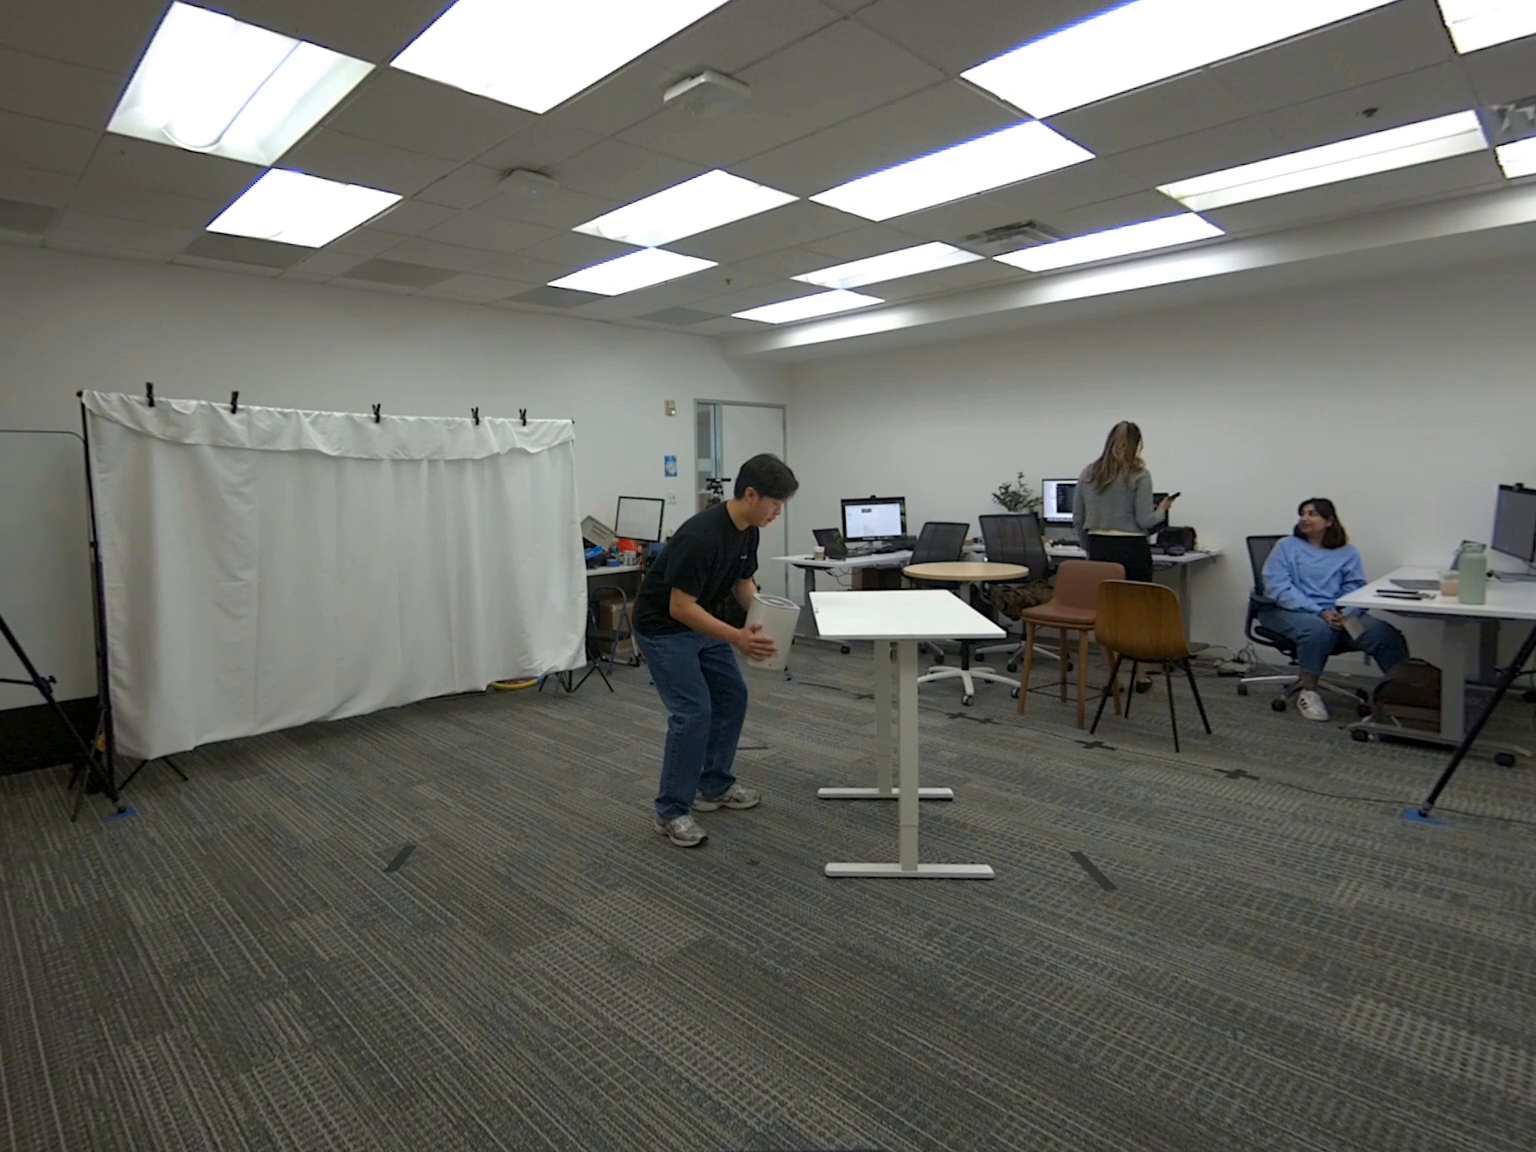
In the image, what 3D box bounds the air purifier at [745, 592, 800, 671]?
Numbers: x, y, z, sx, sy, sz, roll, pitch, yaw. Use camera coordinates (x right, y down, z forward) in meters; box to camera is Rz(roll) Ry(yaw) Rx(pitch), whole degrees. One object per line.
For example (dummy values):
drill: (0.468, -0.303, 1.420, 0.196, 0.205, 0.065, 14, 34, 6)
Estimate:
air purifier: (0.001, 0.223, 3.309, 0.167, 0.264, 0.176, 10, 9, -22)
